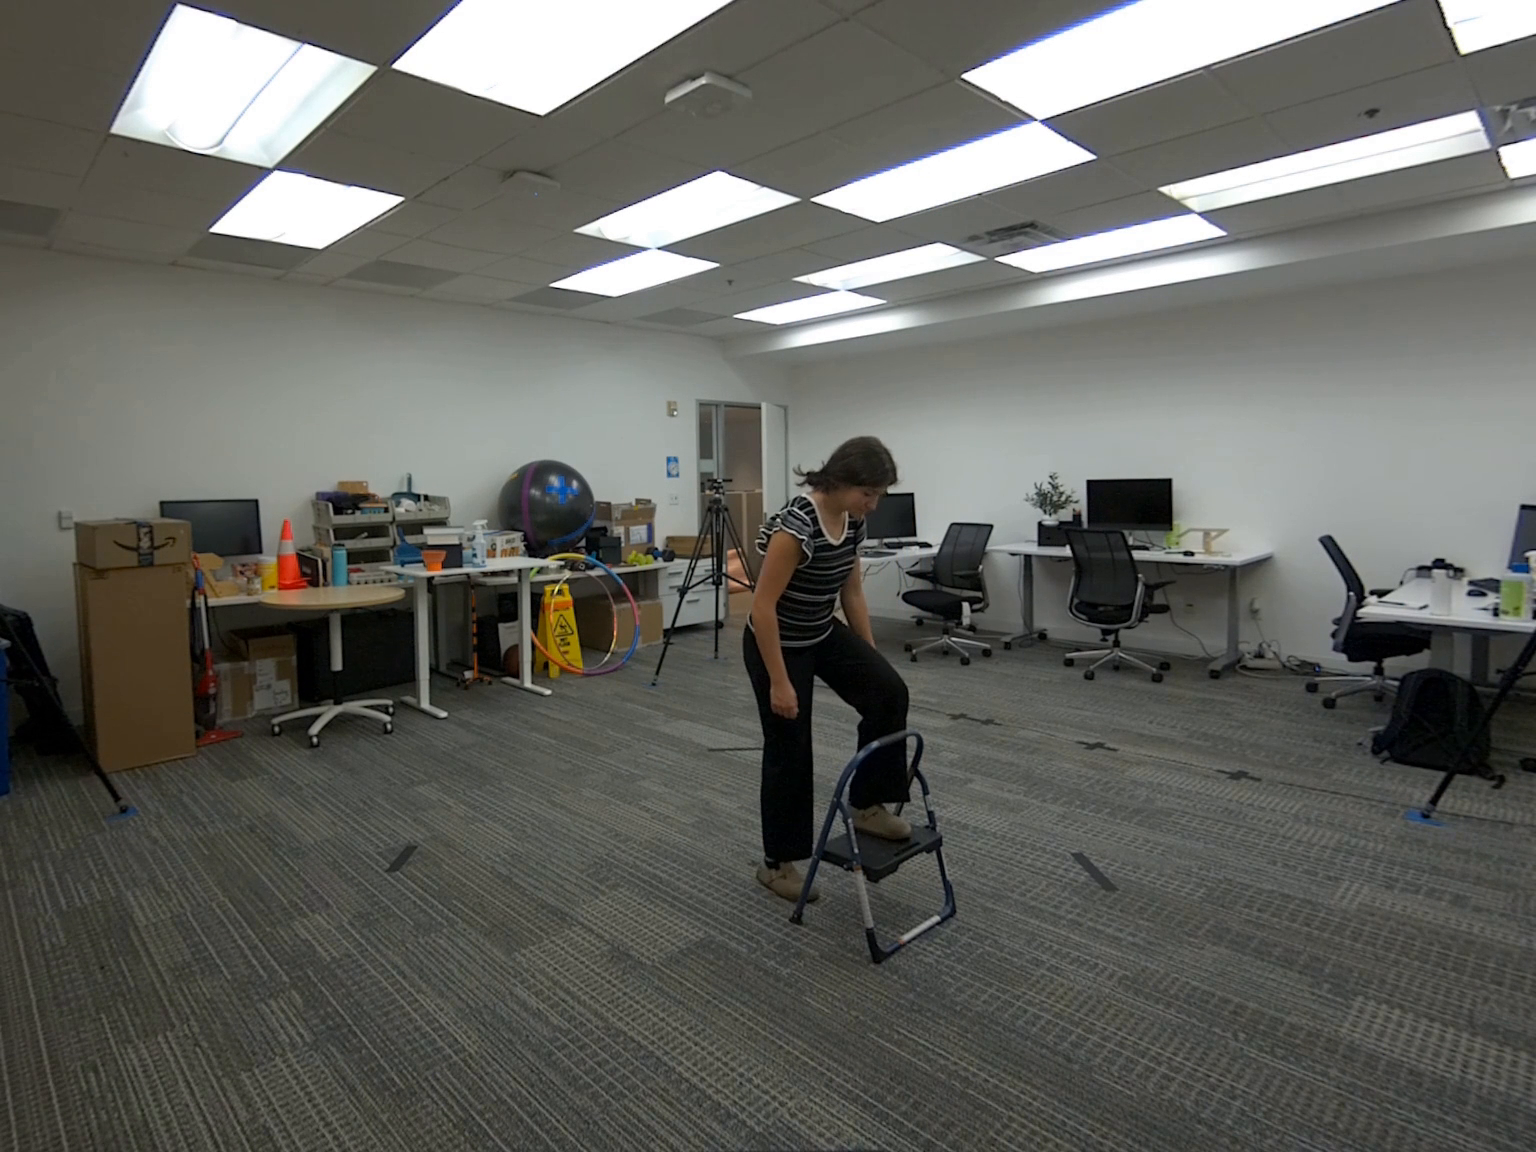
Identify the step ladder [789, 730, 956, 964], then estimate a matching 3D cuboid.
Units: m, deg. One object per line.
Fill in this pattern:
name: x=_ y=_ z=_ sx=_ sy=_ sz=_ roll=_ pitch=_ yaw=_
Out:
step ladder: x=0.335 y=0.785 z=2.690 sx=0.360 sy=0.604 sz=0.419 roll=3 pitch=6 yaw=45
